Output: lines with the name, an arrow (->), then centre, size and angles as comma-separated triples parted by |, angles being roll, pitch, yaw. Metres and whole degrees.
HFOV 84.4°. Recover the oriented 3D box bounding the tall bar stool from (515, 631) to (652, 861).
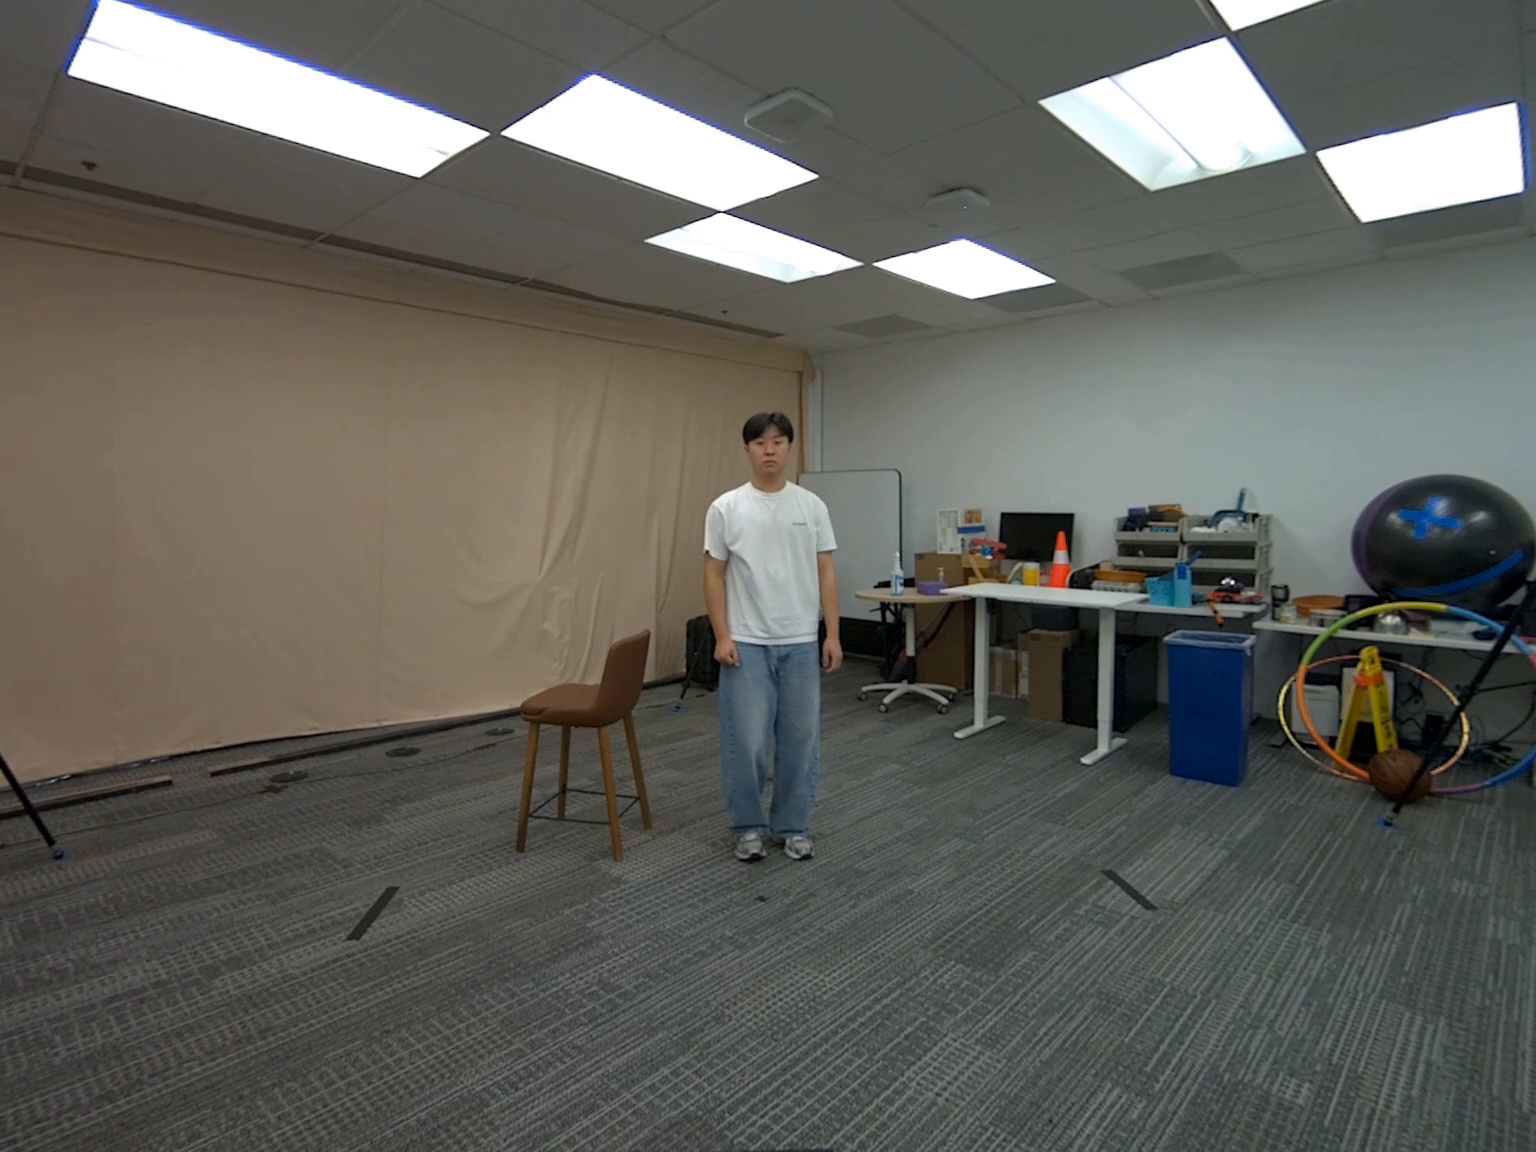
tall bar stool -> -0.755, 0.669, 3.519 | 0.475, 0.888, 0.450 | 2, 4, 14
